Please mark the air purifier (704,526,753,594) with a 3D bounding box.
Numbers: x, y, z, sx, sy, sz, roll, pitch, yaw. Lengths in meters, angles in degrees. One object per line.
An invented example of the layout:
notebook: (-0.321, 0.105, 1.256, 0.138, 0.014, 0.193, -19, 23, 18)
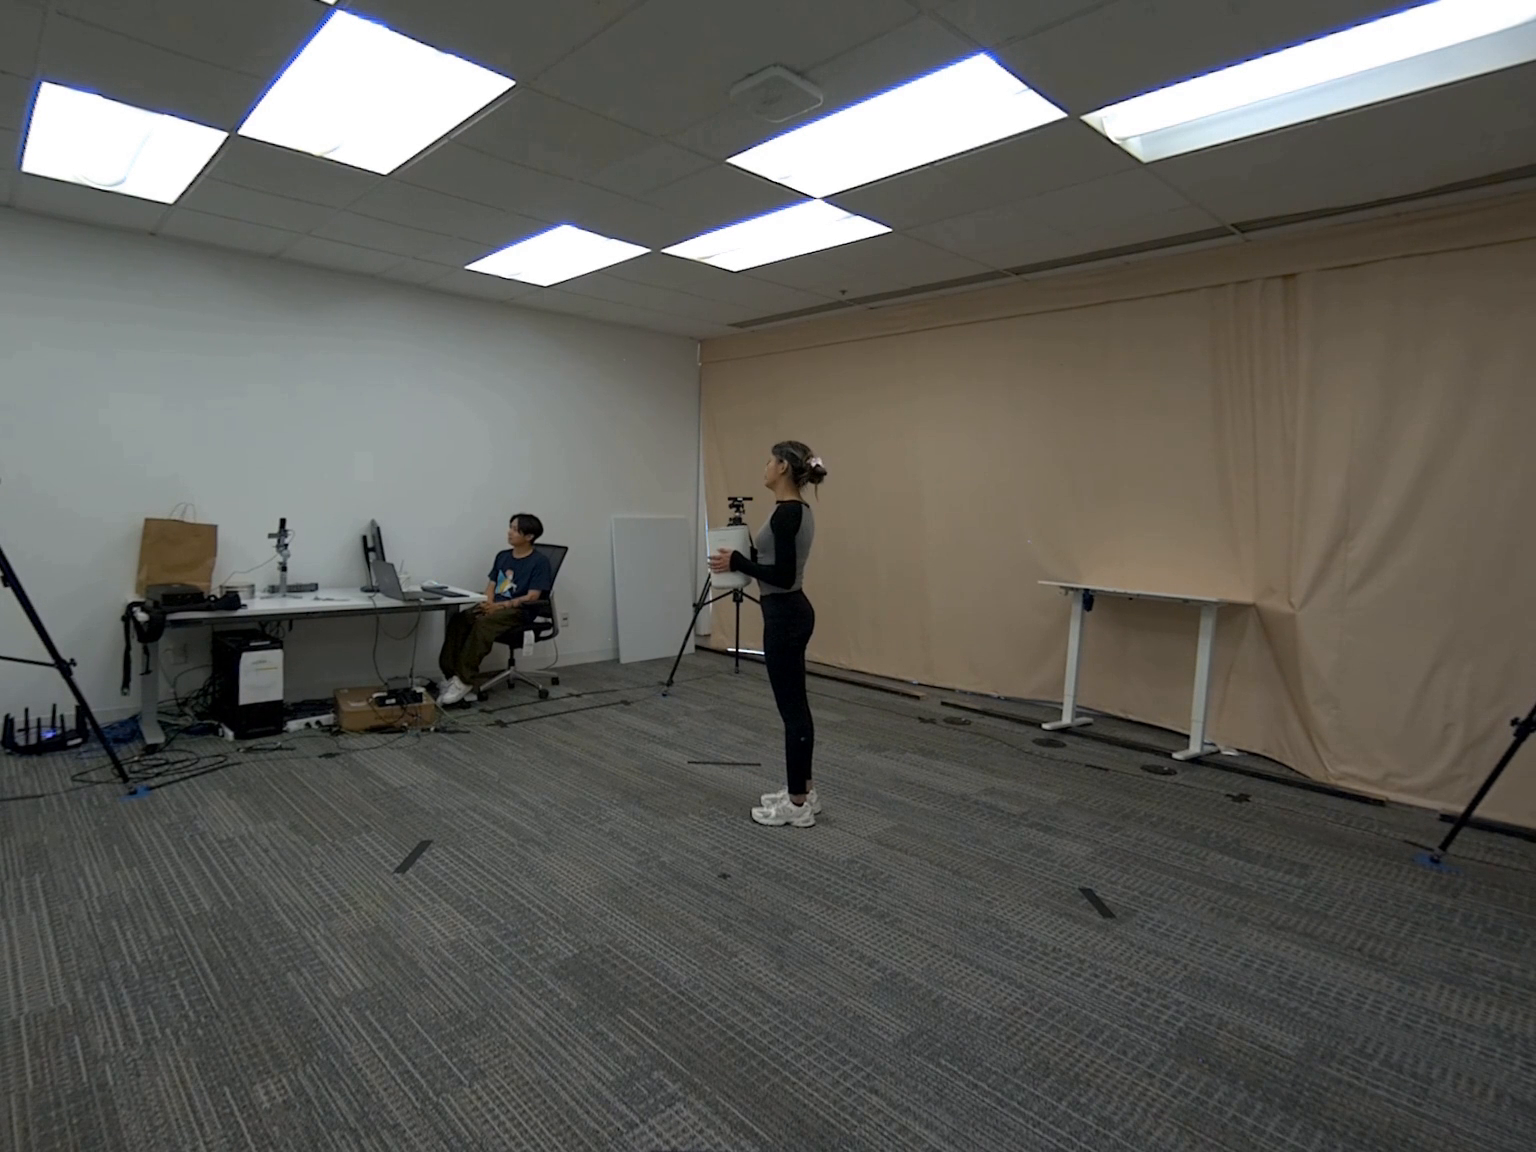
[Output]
air purifier: (-0.166, -0.085, 3.743, 0.172, 0.265, 0.171, -4, 3, 7)
